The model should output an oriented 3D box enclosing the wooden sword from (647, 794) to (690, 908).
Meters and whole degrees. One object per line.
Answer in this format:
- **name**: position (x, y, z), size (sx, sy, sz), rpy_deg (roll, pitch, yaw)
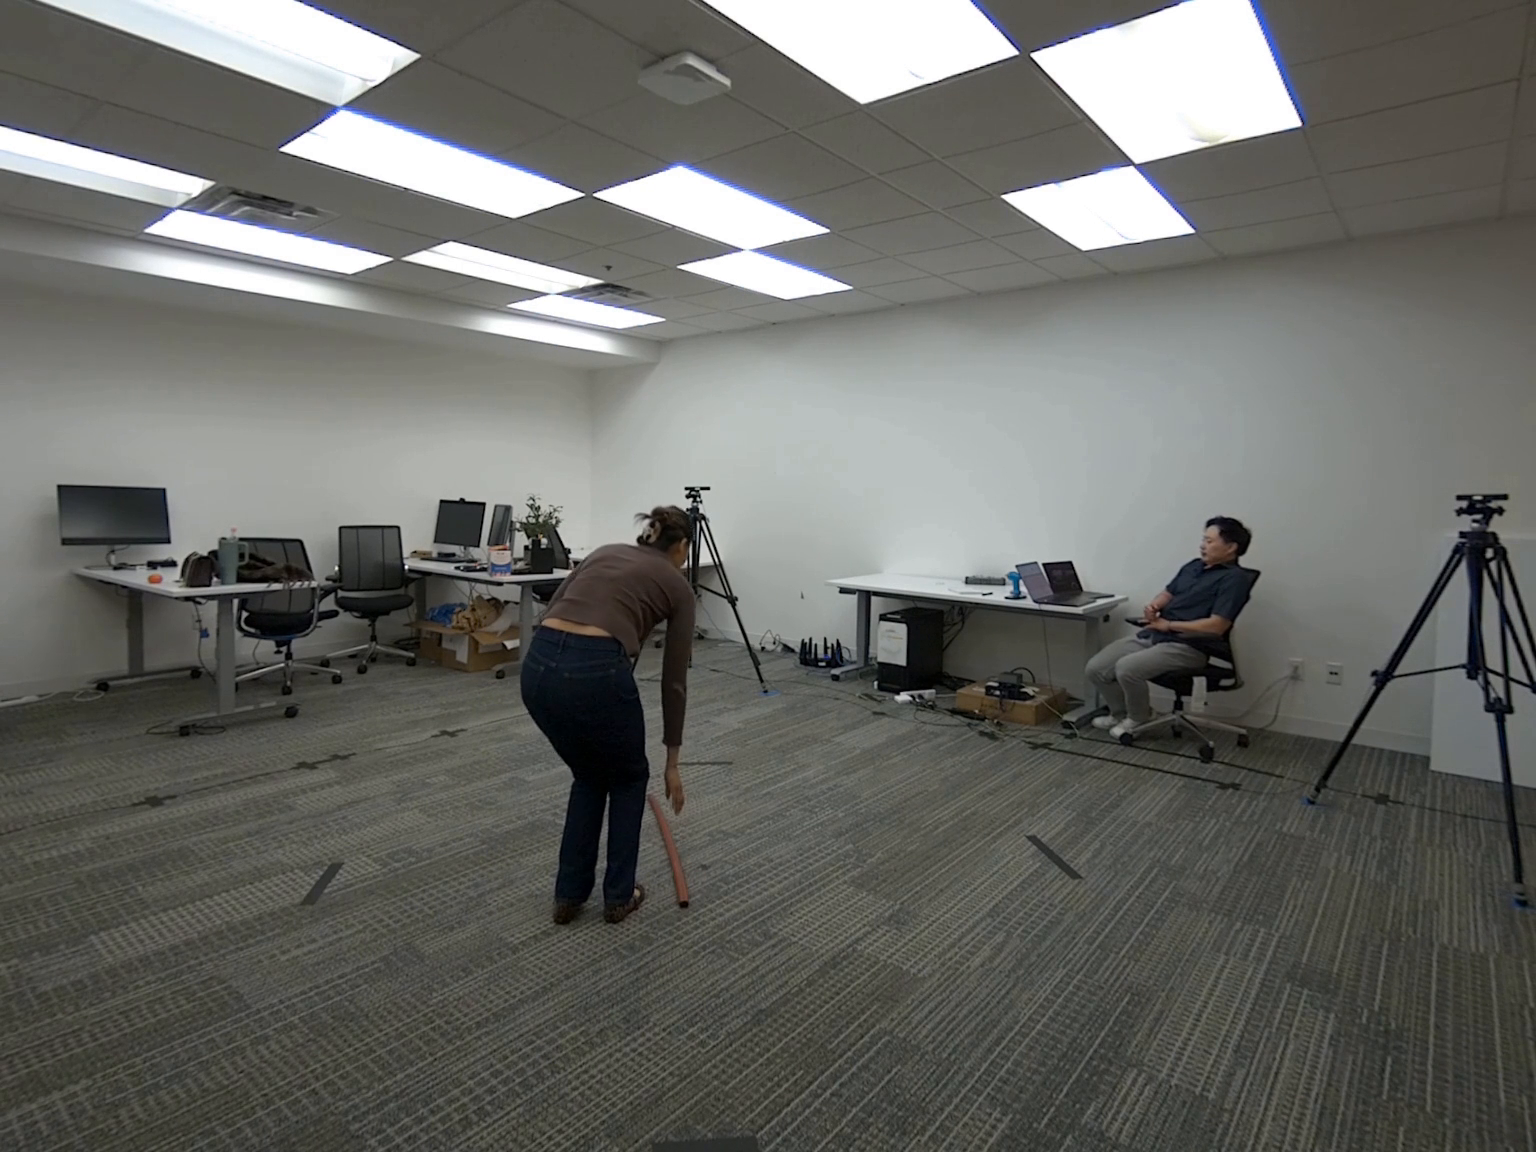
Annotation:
- **wooden sword**: position (-0.405, 1.007, 3.309), size (0.051, 0.023, 1.044), rpy_deg (-38, 15, -7)
